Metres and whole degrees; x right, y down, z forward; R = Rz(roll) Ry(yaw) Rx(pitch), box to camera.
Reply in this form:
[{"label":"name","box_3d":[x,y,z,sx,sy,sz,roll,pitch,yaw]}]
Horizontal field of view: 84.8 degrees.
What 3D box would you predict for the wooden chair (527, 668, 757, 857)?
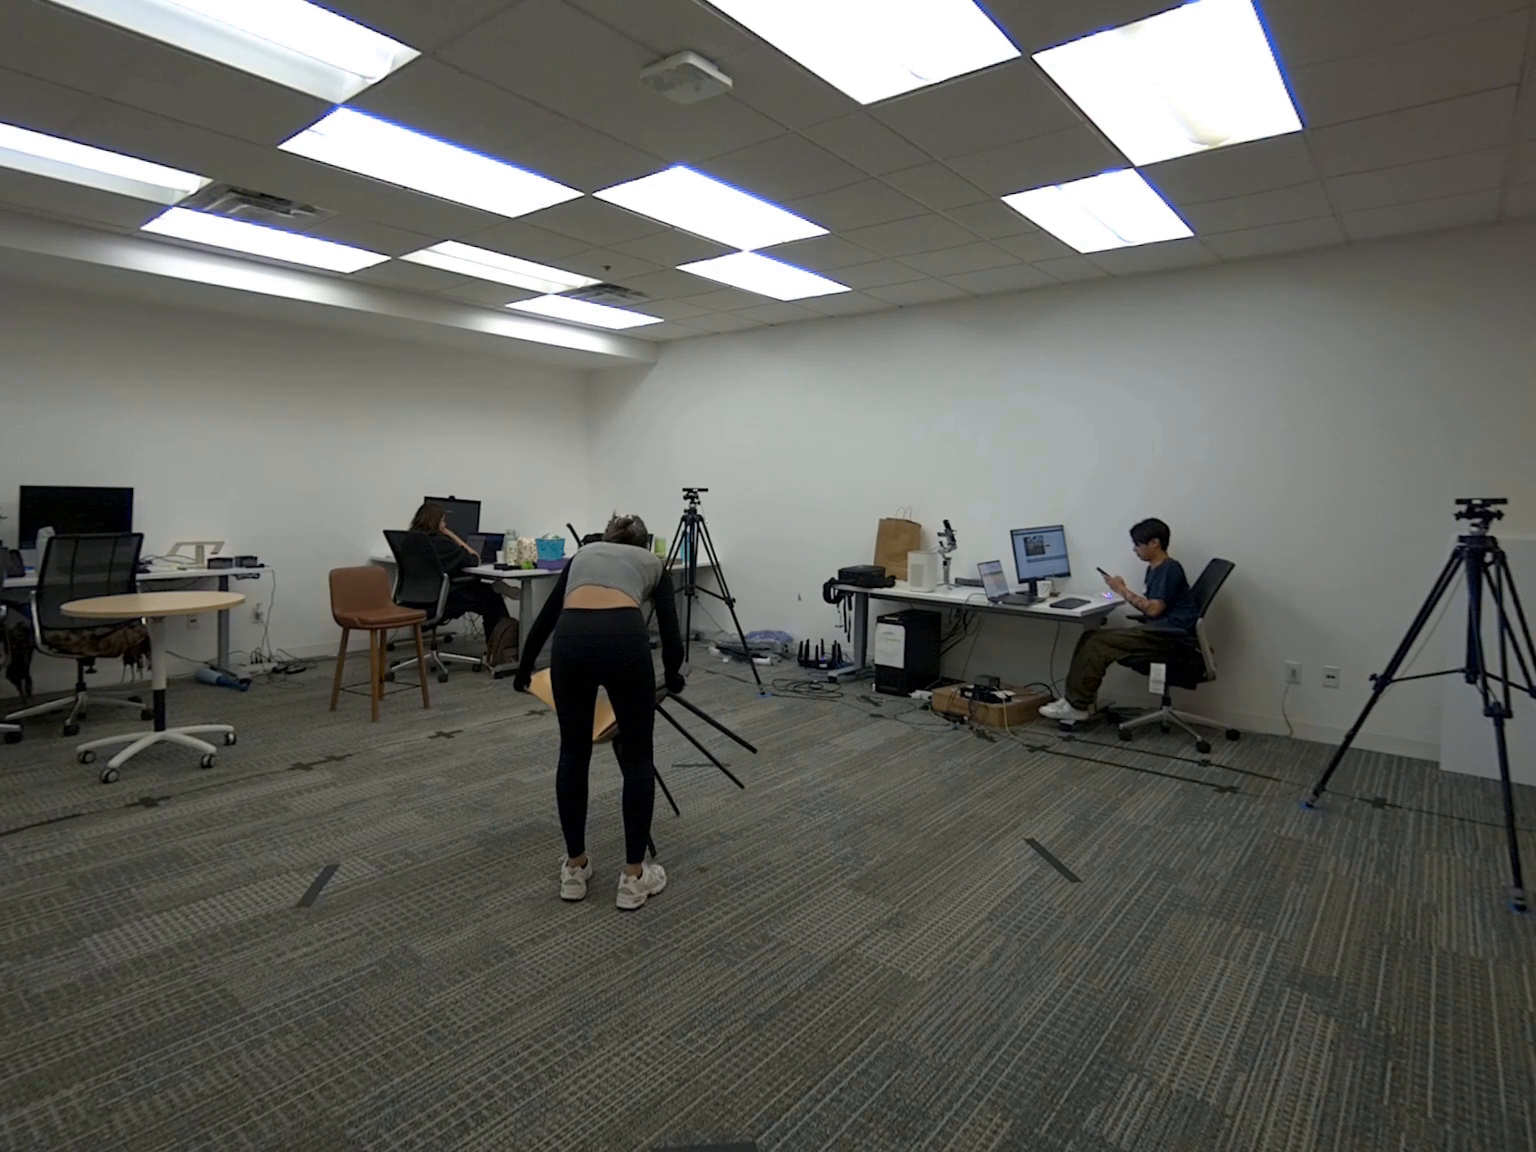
[{"label":"wooden chair","box_3d":[-0.507,0.557,3.399,0.884,0.523,0.474,46,9,4]}]
